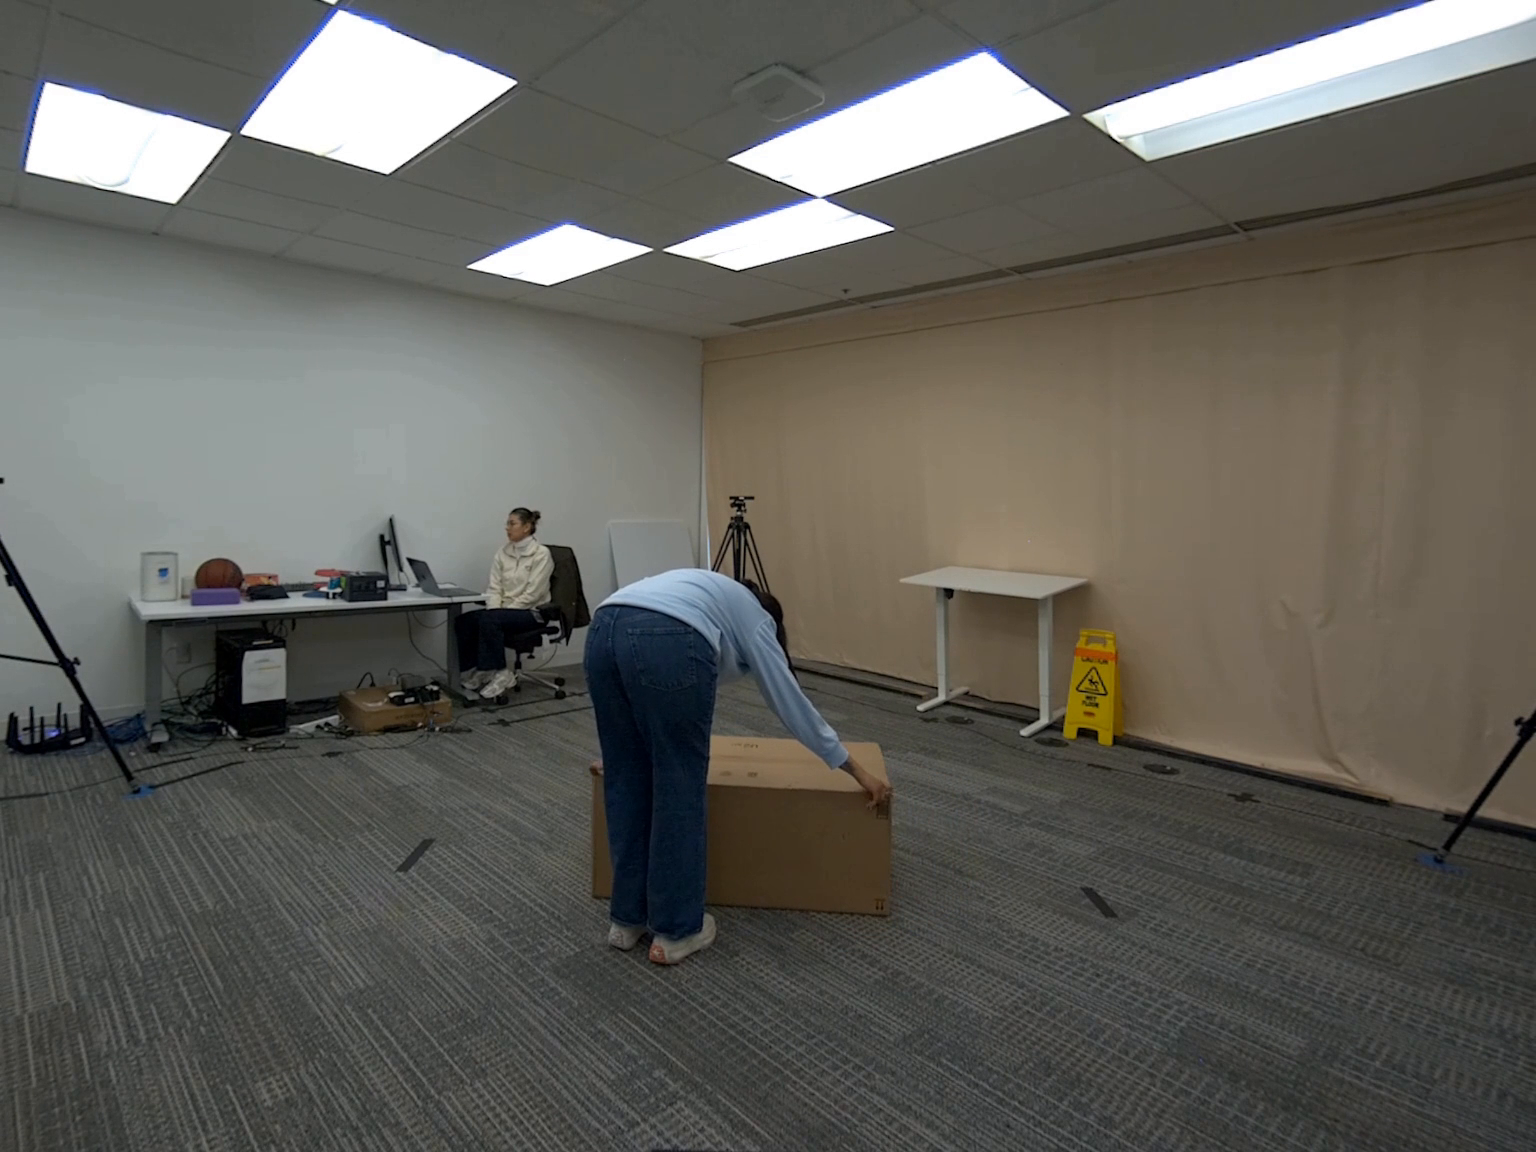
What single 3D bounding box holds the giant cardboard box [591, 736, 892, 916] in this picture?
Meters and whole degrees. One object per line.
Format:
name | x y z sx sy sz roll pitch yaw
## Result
giant cardboard box | -0.085 0.889 3.136 1.030 0.425 0.577 1 5 5
